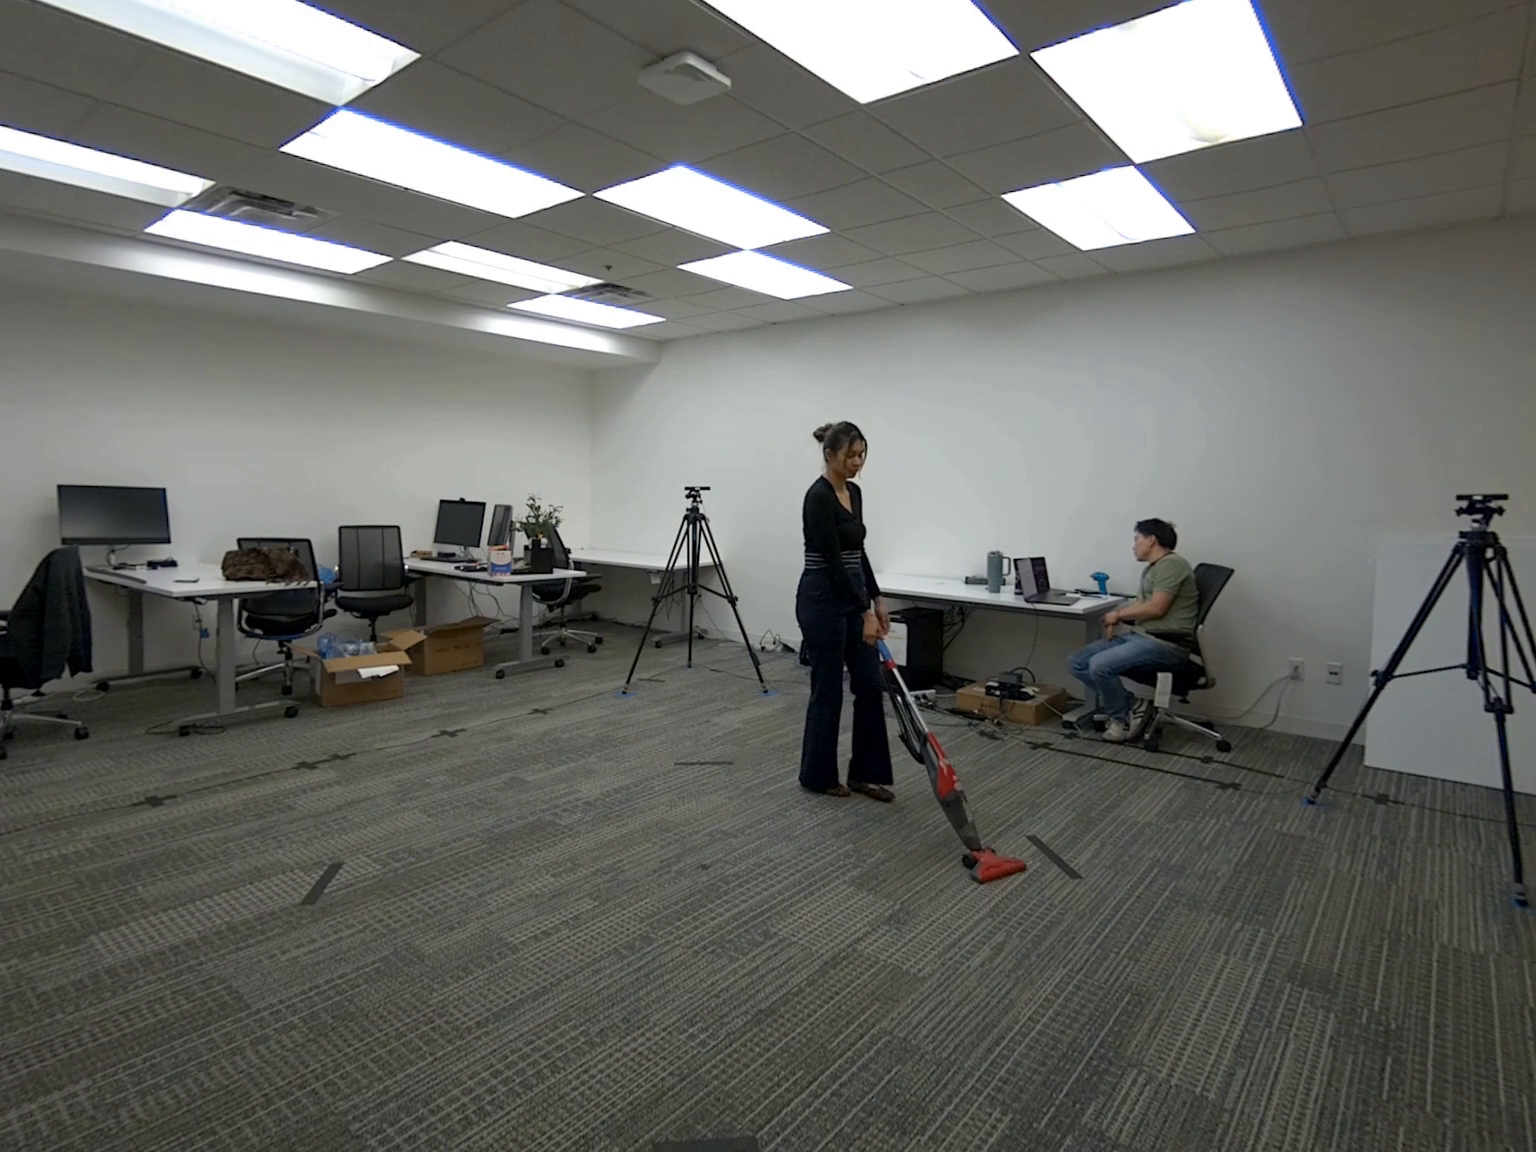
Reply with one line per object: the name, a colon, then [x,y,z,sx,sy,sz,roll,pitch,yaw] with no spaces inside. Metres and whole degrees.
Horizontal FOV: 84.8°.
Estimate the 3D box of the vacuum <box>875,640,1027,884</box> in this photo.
vacuum: [0.632,0.658,3.427,0.244,1.088,0.143,4,-43,-38]
